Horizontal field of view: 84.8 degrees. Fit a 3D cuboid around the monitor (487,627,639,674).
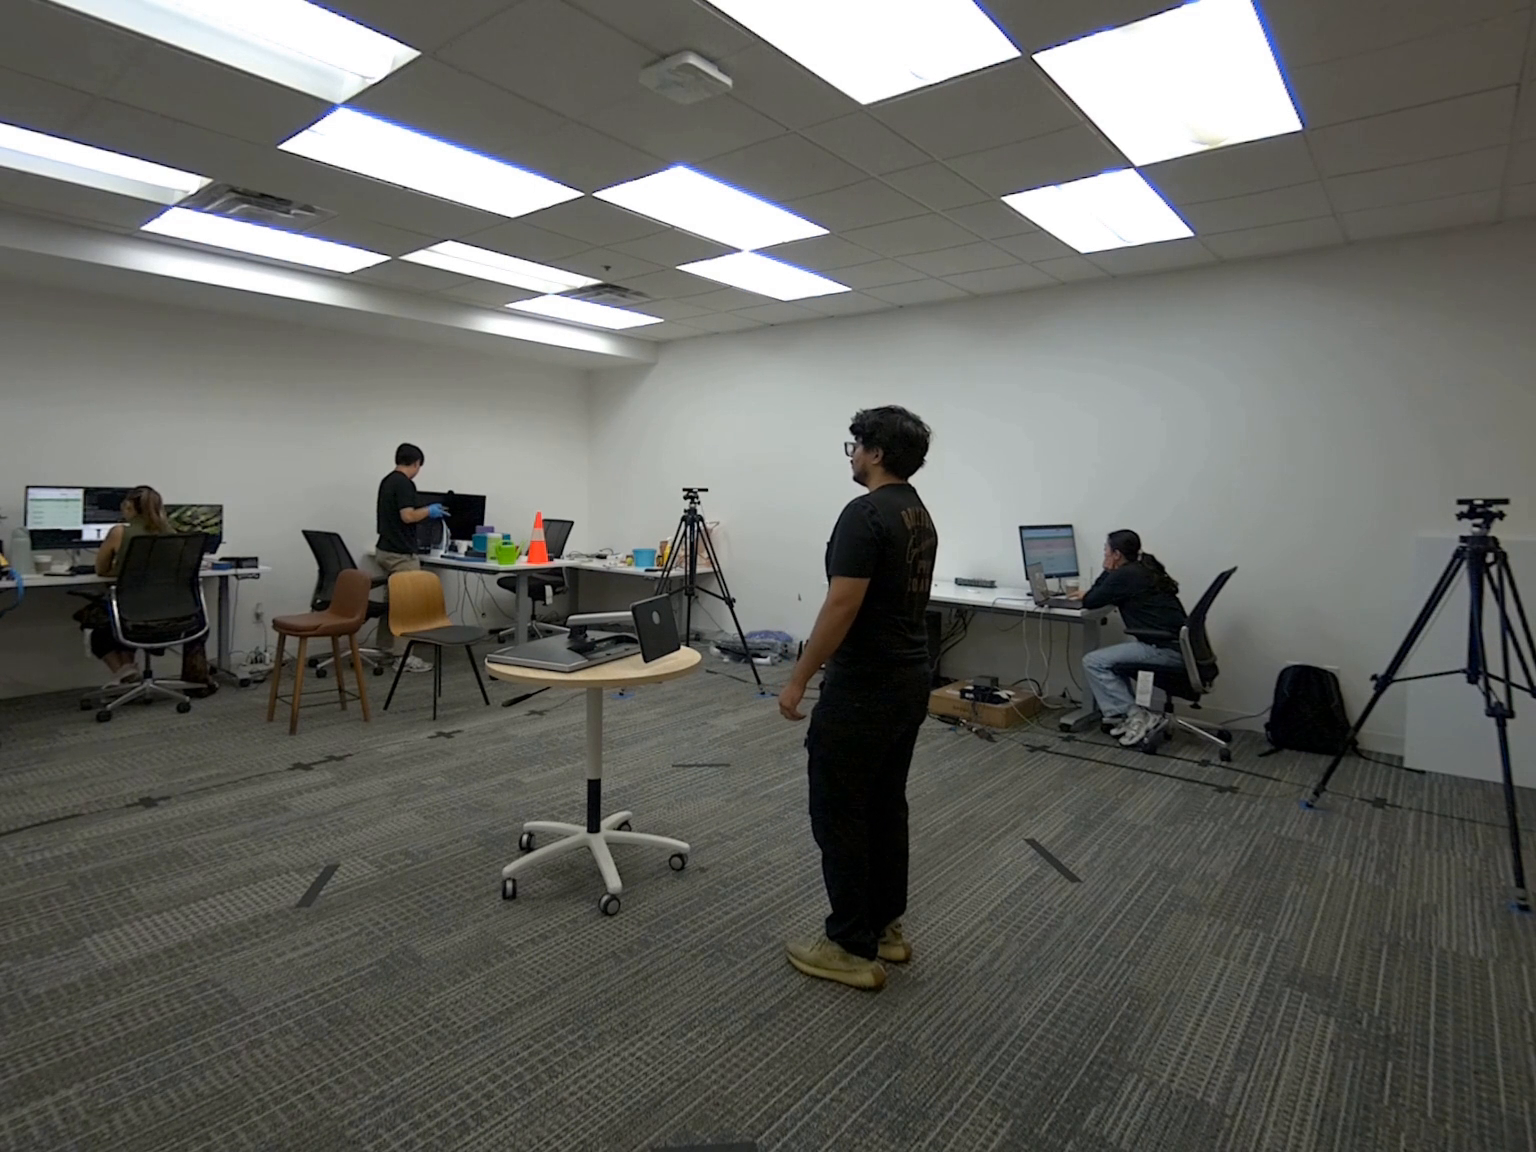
[{"bbox_3d":[-0.629,0.193,3.060,0.568,0.210,0.552,-3,3,27],"label":"monitor"}]
